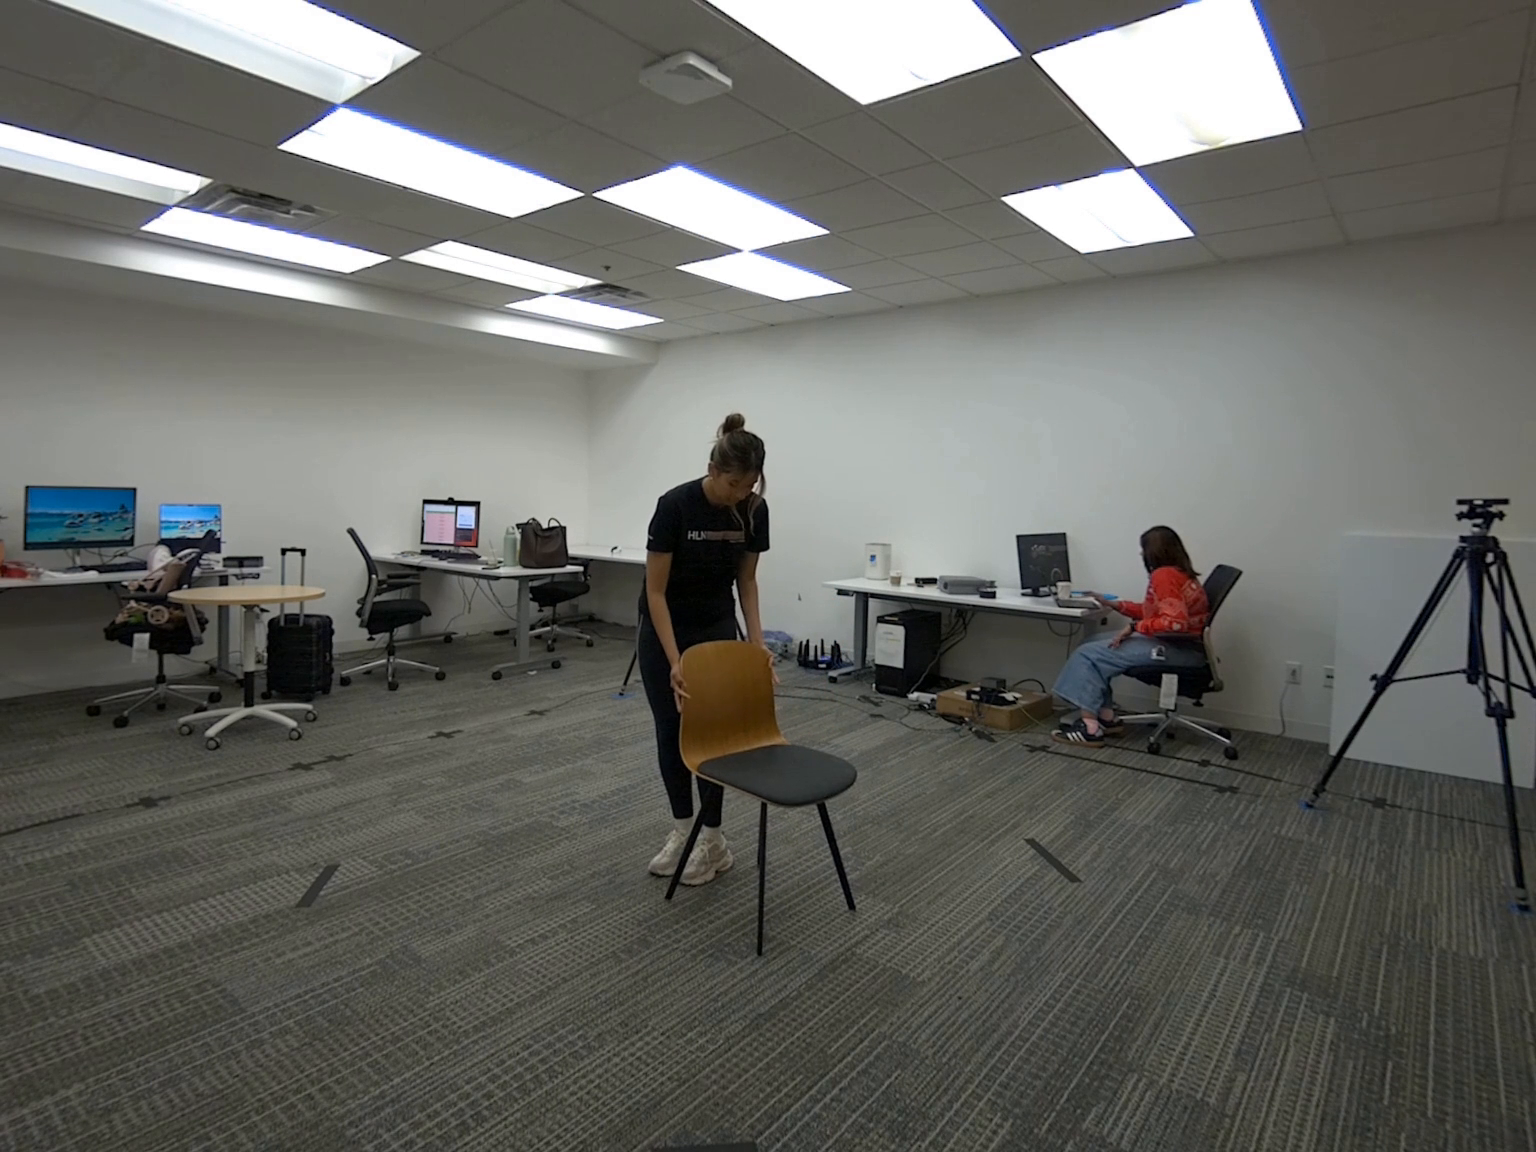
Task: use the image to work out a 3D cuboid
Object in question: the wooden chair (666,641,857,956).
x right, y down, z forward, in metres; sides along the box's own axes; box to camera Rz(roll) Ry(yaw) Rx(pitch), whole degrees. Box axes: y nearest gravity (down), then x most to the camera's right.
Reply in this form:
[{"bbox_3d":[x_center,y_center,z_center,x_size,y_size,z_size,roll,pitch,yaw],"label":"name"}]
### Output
[{"bbox_3d":[-0.003,0.671,2.808,0.463,0.877,0.540,-2,1,-43],"label":"wooden chair"}]
